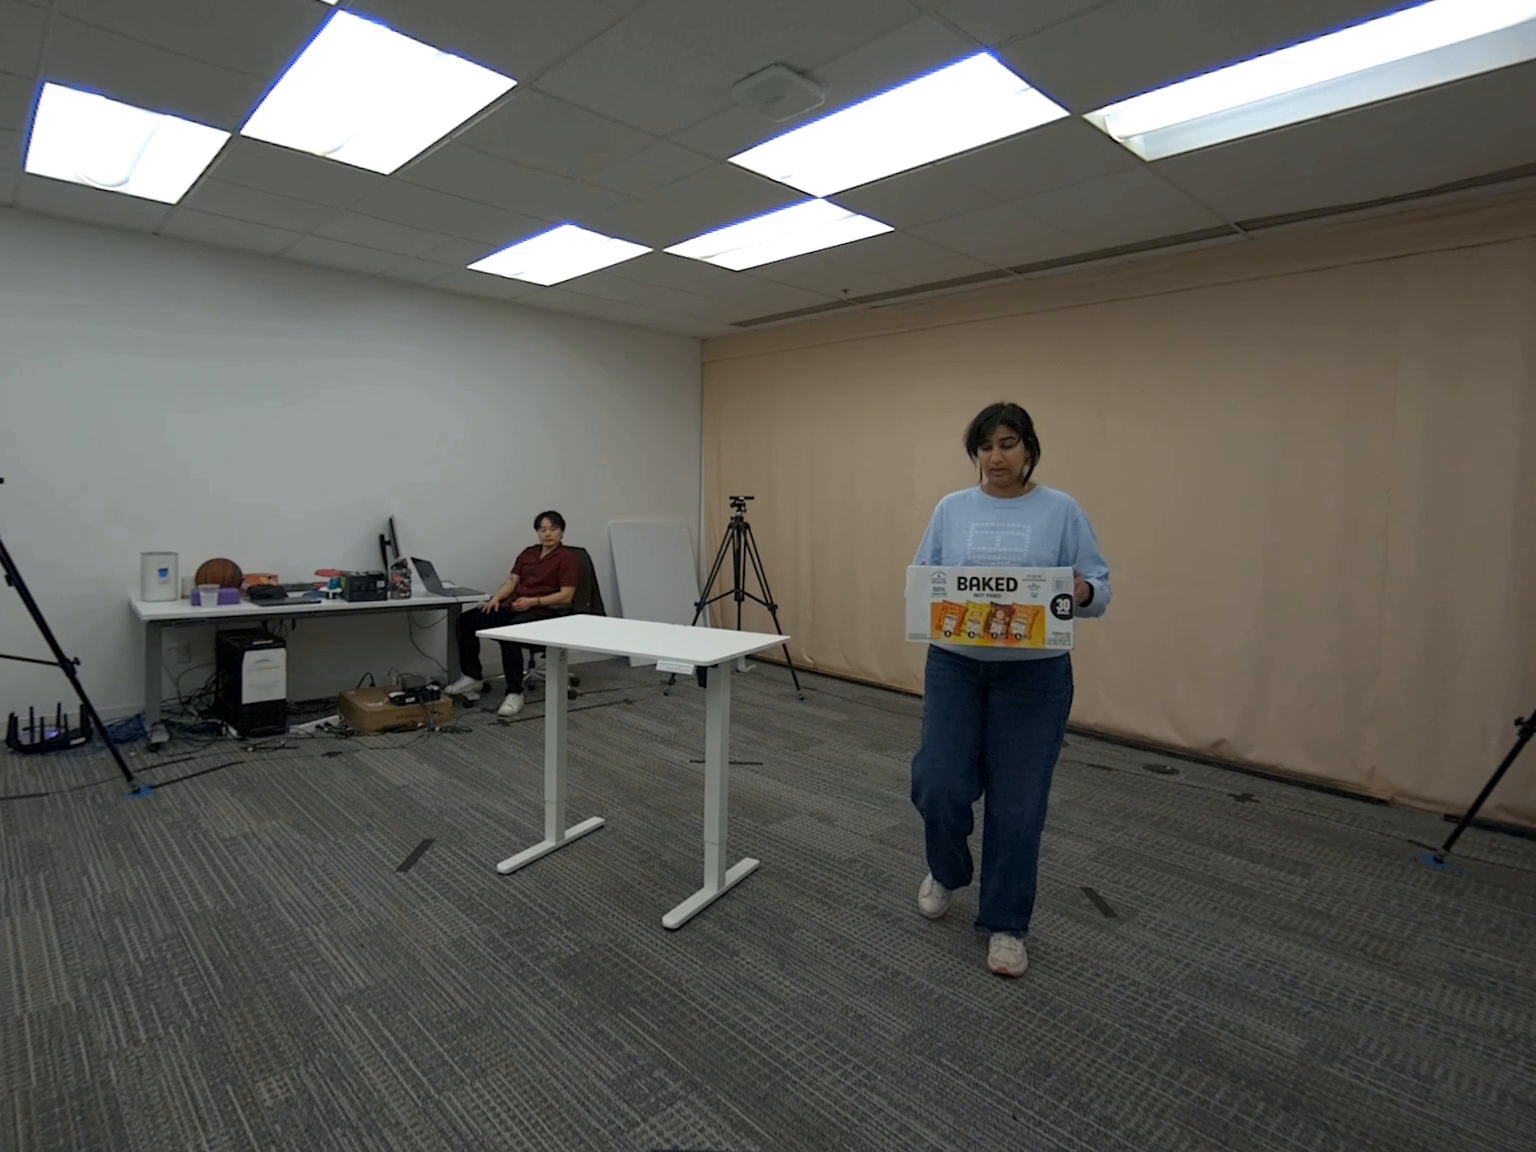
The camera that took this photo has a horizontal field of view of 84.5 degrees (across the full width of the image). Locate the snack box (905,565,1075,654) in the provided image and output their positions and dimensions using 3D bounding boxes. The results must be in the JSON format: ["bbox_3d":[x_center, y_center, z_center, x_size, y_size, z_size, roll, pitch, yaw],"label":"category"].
[{"bbox_3d":[0.595,0.078,2.272,0.412,0.206,0.334,1,-1,21],"label":"snack box"}]
